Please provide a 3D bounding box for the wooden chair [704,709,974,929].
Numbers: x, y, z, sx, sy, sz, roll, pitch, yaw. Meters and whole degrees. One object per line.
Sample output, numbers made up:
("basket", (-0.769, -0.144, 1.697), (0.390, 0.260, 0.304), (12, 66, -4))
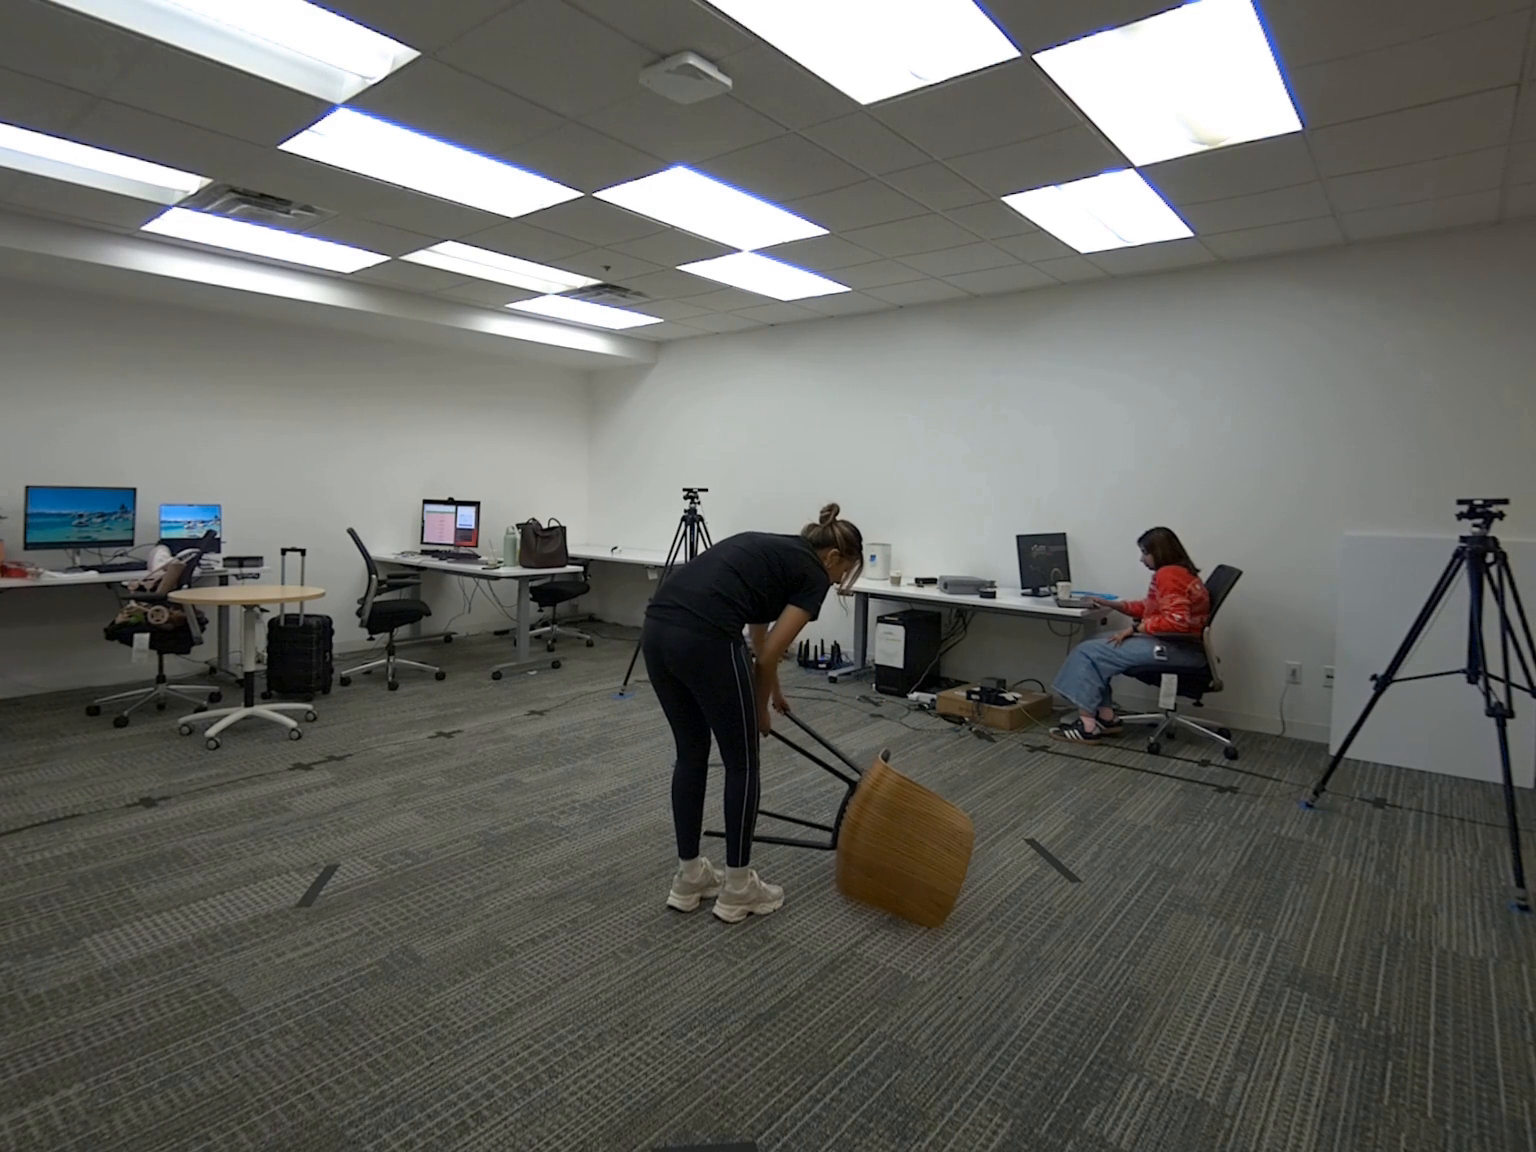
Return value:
("wooden chair", (0.288, 0.839, 3.056), (0.901, 0.478, 0.510), (19, 2, 20))
